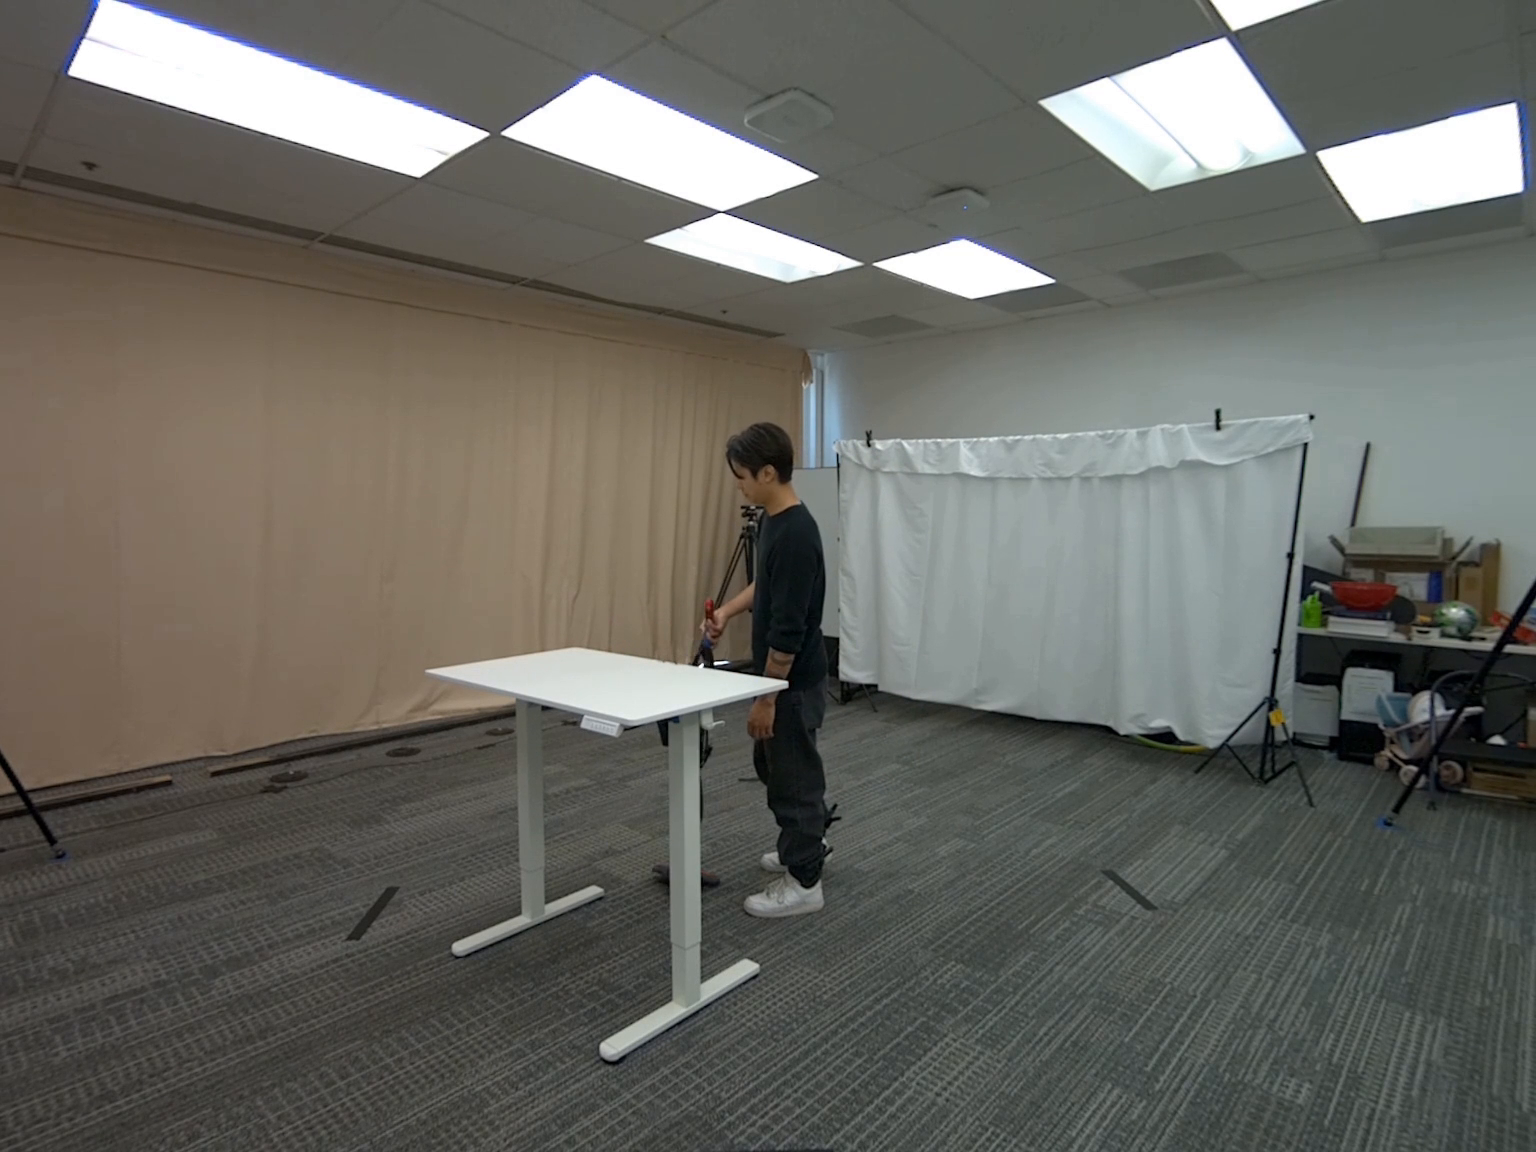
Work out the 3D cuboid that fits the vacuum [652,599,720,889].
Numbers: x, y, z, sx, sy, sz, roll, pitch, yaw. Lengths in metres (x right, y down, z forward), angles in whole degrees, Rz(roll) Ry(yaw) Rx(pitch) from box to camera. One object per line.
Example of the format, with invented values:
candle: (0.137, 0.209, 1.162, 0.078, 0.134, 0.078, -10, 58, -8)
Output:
vacuum: (-0.266, 0.611, 3.035, 0.255, 1.046, 0.143, 4, 5, 9)
